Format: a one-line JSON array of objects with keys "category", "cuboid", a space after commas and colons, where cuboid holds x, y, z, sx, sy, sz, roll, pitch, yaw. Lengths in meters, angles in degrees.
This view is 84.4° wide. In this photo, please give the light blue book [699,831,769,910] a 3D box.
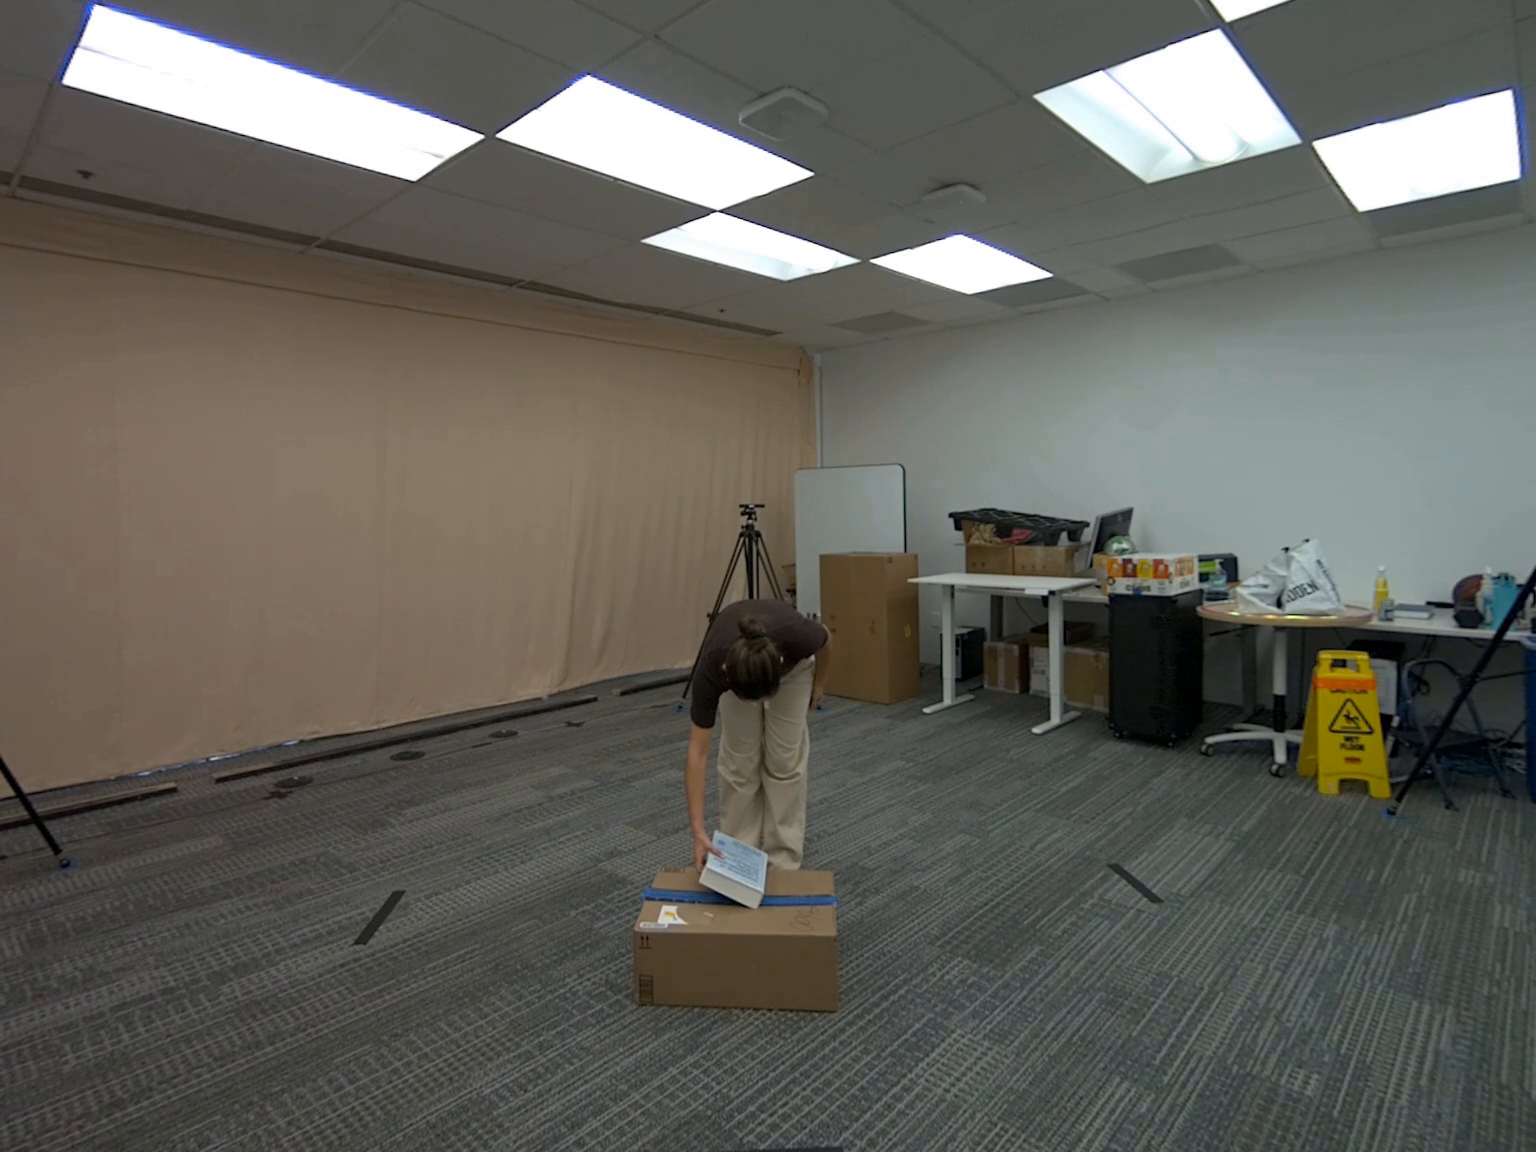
[{"category": "light blue book", "cuboid": [-0.090, 0.901, 2.599, 0.191, 0.059, 0.261, 23, 6, -1]}]
